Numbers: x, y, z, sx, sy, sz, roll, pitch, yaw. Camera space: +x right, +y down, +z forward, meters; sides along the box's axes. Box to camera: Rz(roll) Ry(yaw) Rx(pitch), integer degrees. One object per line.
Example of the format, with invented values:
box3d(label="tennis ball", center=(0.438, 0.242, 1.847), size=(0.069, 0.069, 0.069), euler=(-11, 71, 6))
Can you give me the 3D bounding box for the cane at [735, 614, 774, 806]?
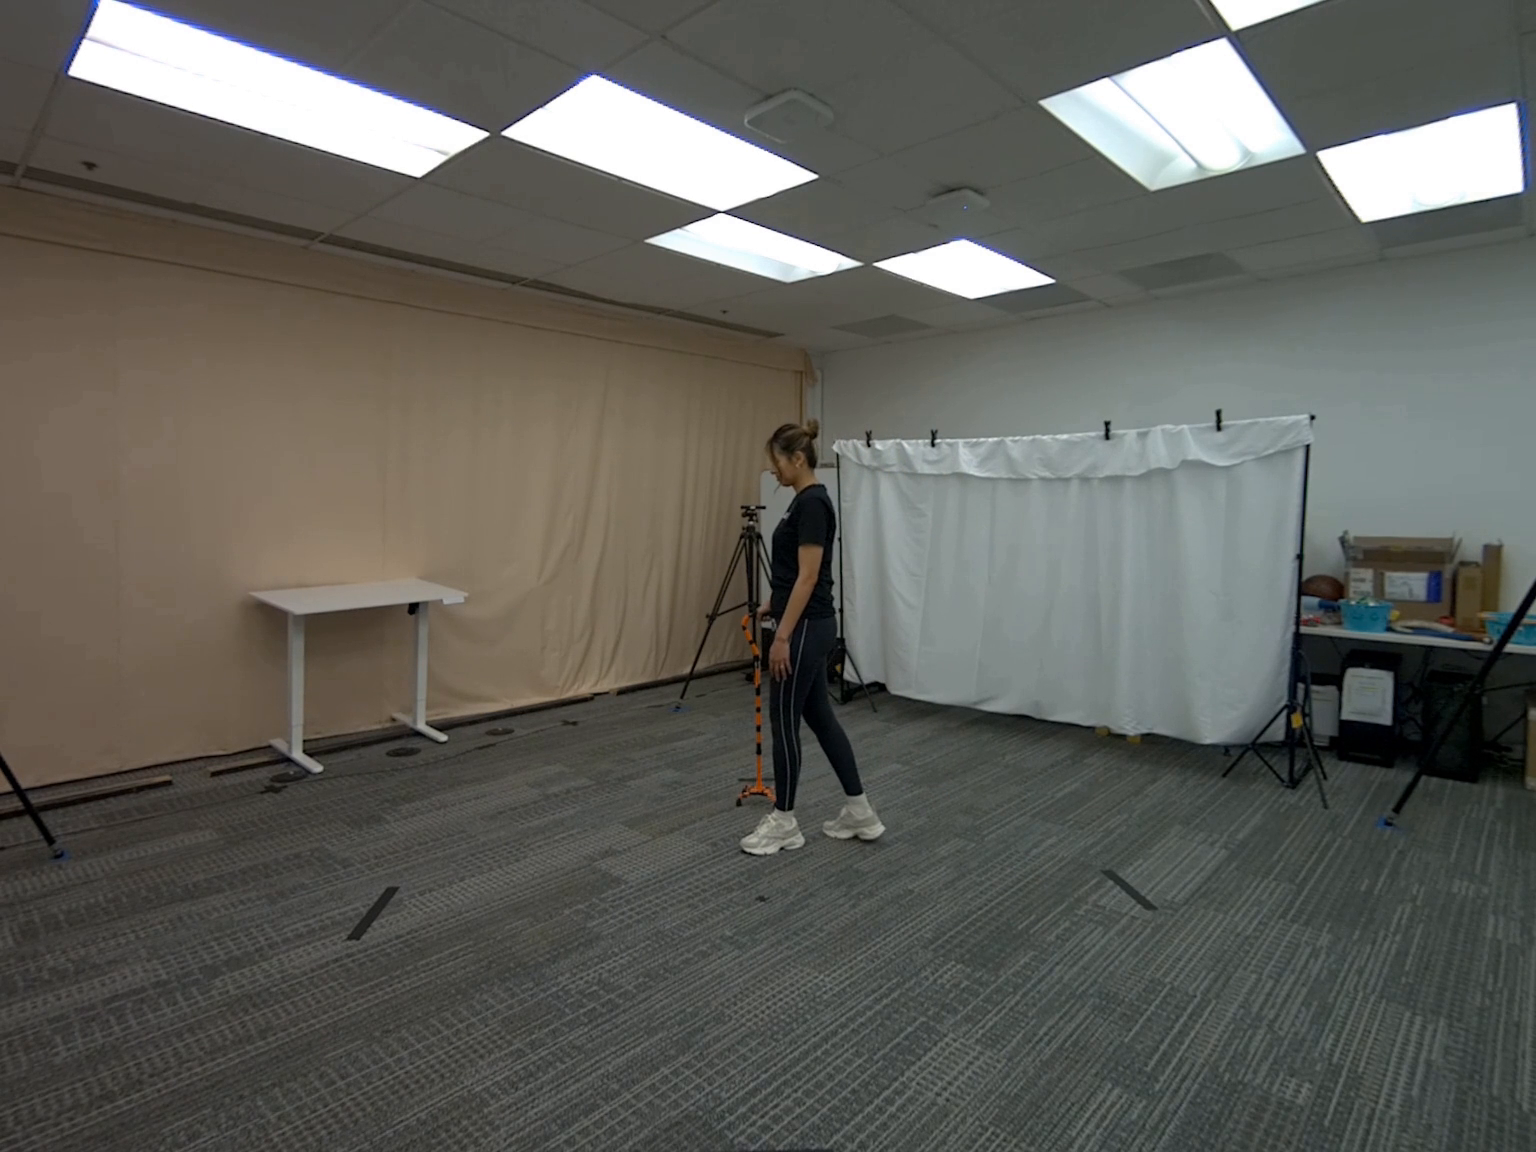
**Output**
box3d(label="cane", center=(-0.049, 0.610, 3.912), size=(0.209, 0.904, 0.150), euler=(-1, 6, 9))
